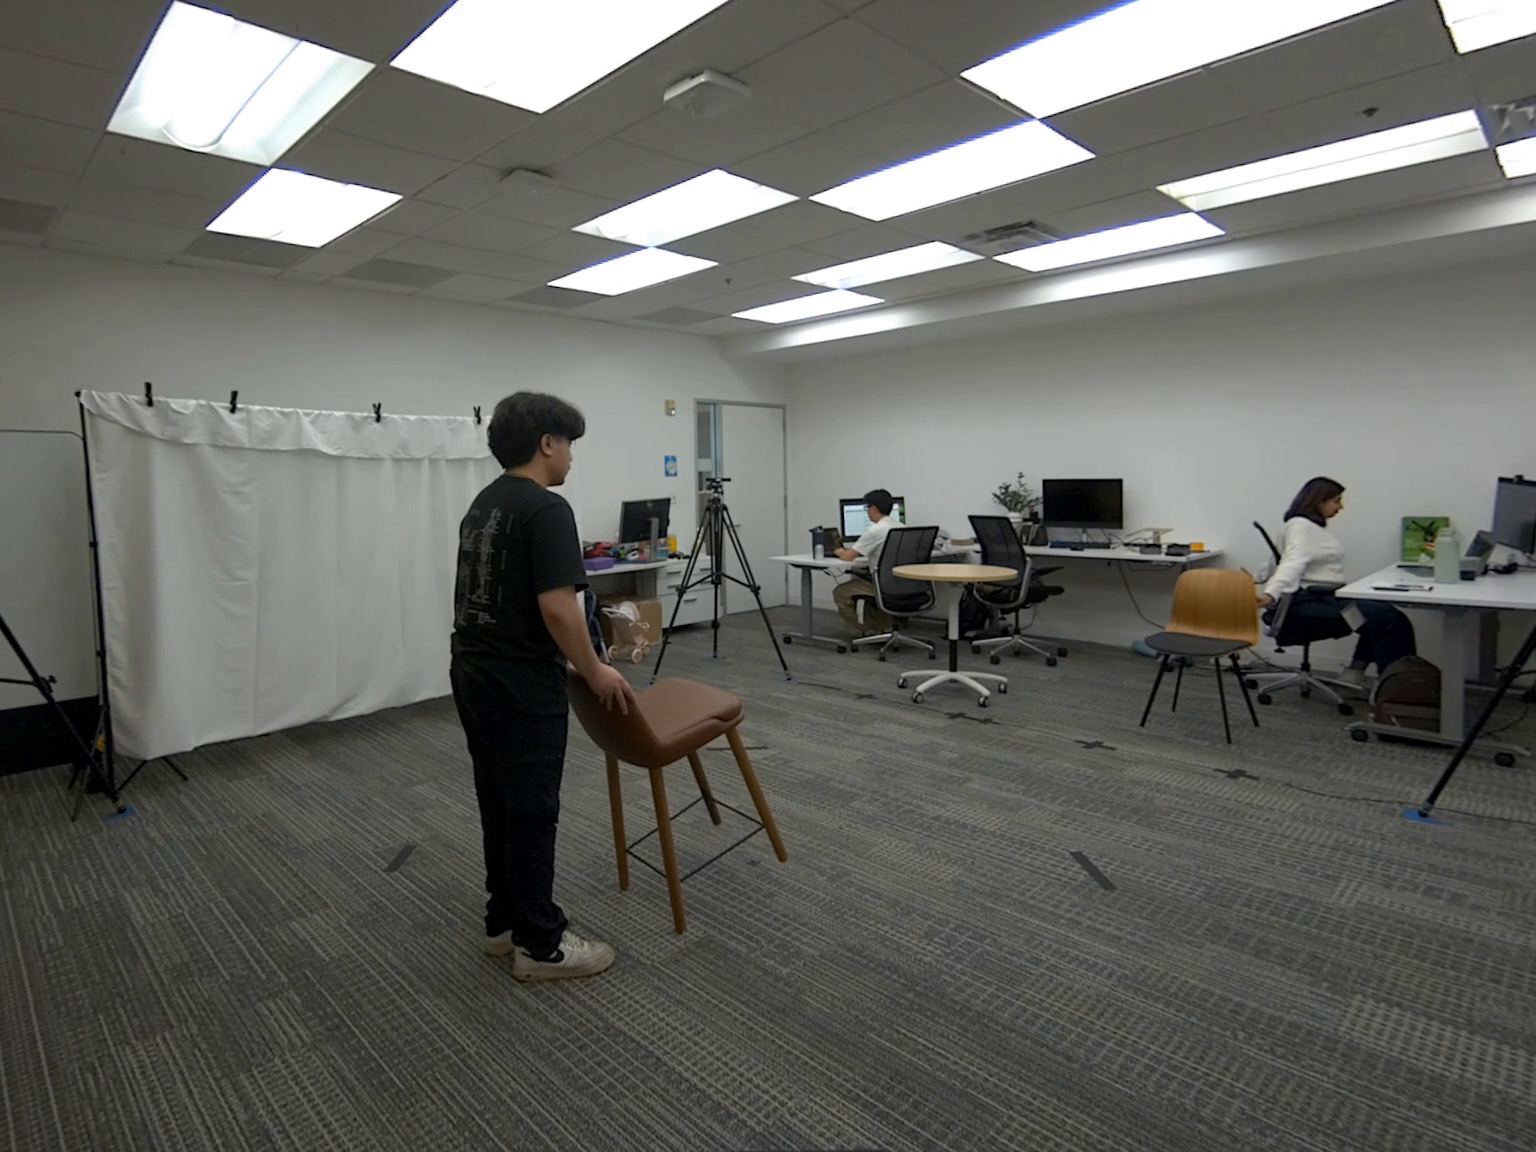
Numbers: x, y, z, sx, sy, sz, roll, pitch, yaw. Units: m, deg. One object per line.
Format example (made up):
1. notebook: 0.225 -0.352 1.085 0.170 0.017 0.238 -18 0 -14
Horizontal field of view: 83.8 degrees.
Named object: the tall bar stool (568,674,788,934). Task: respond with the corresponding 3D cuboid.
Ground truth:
1. tall bar stool: -0.324 0.606 2.804 0.461 0.876 0.470 -25 18 -34
